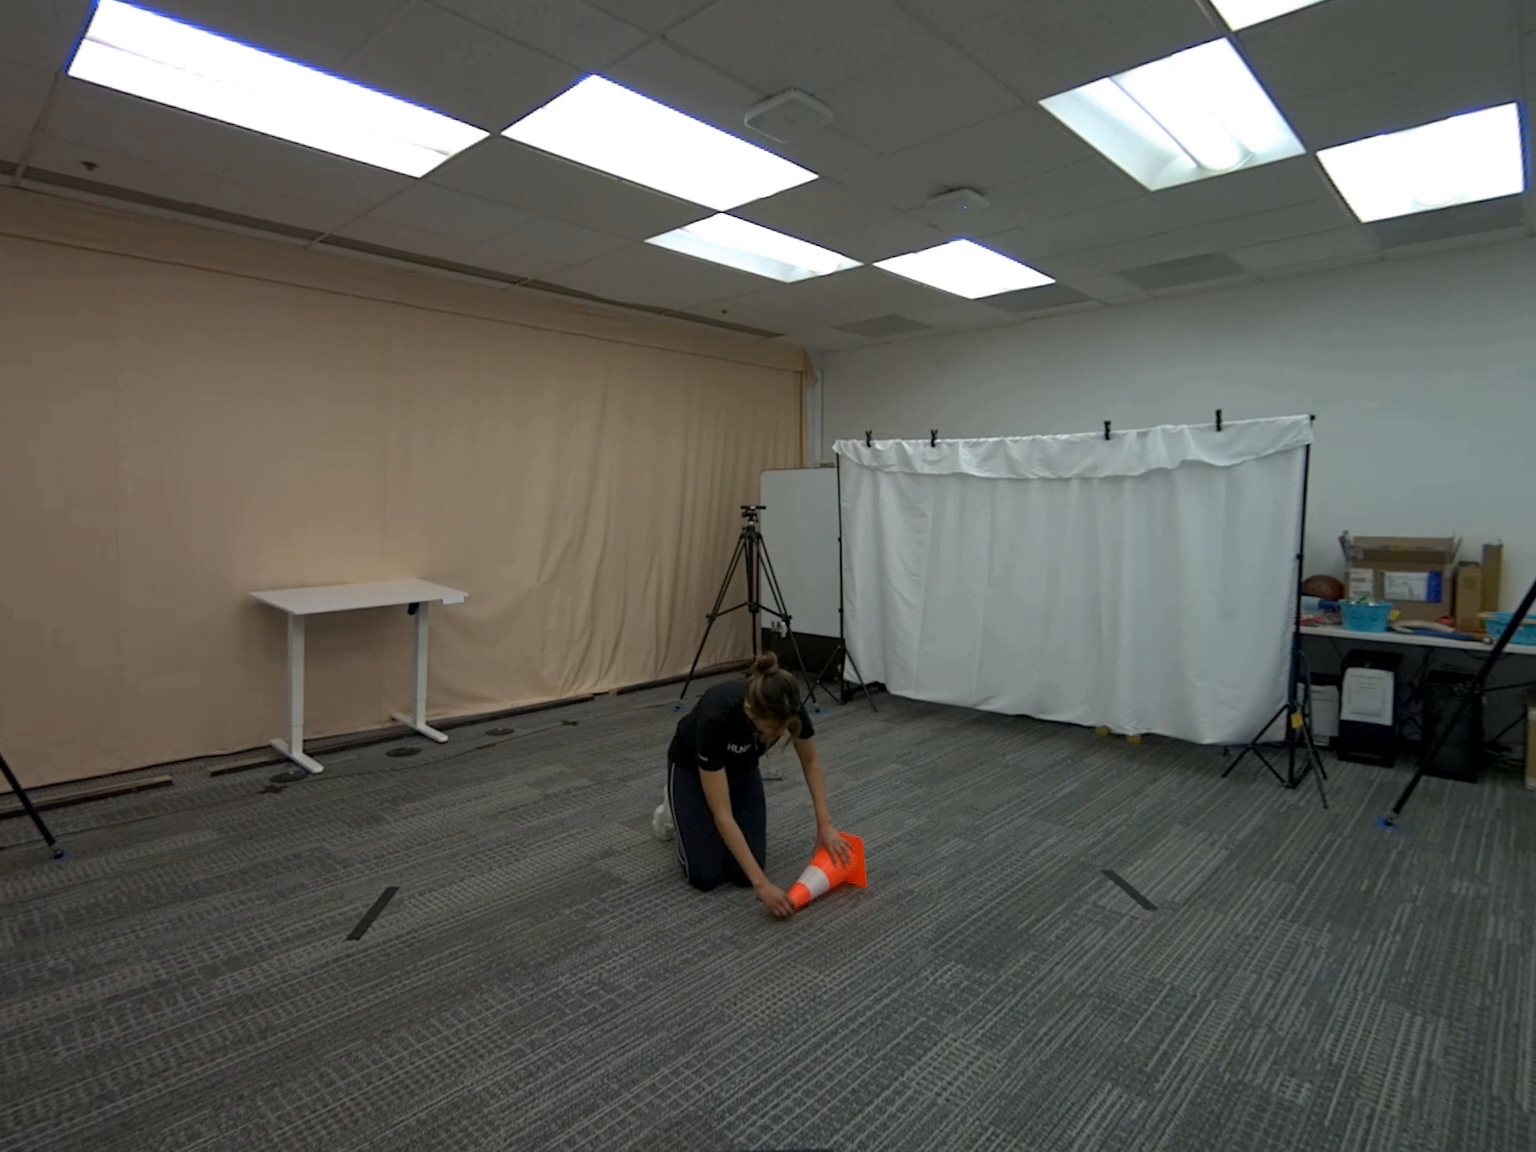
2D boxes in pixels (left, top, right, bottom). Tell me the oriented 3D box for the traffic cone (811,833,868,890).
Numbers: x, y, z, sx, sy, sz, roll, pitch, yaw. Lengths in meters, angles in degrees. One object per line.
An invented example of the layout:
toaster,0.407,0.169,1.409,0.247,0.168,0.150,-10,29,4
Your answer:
traffic cone,0.163,1.087,2.965,0.211,0.201,0.375,2,17,39
